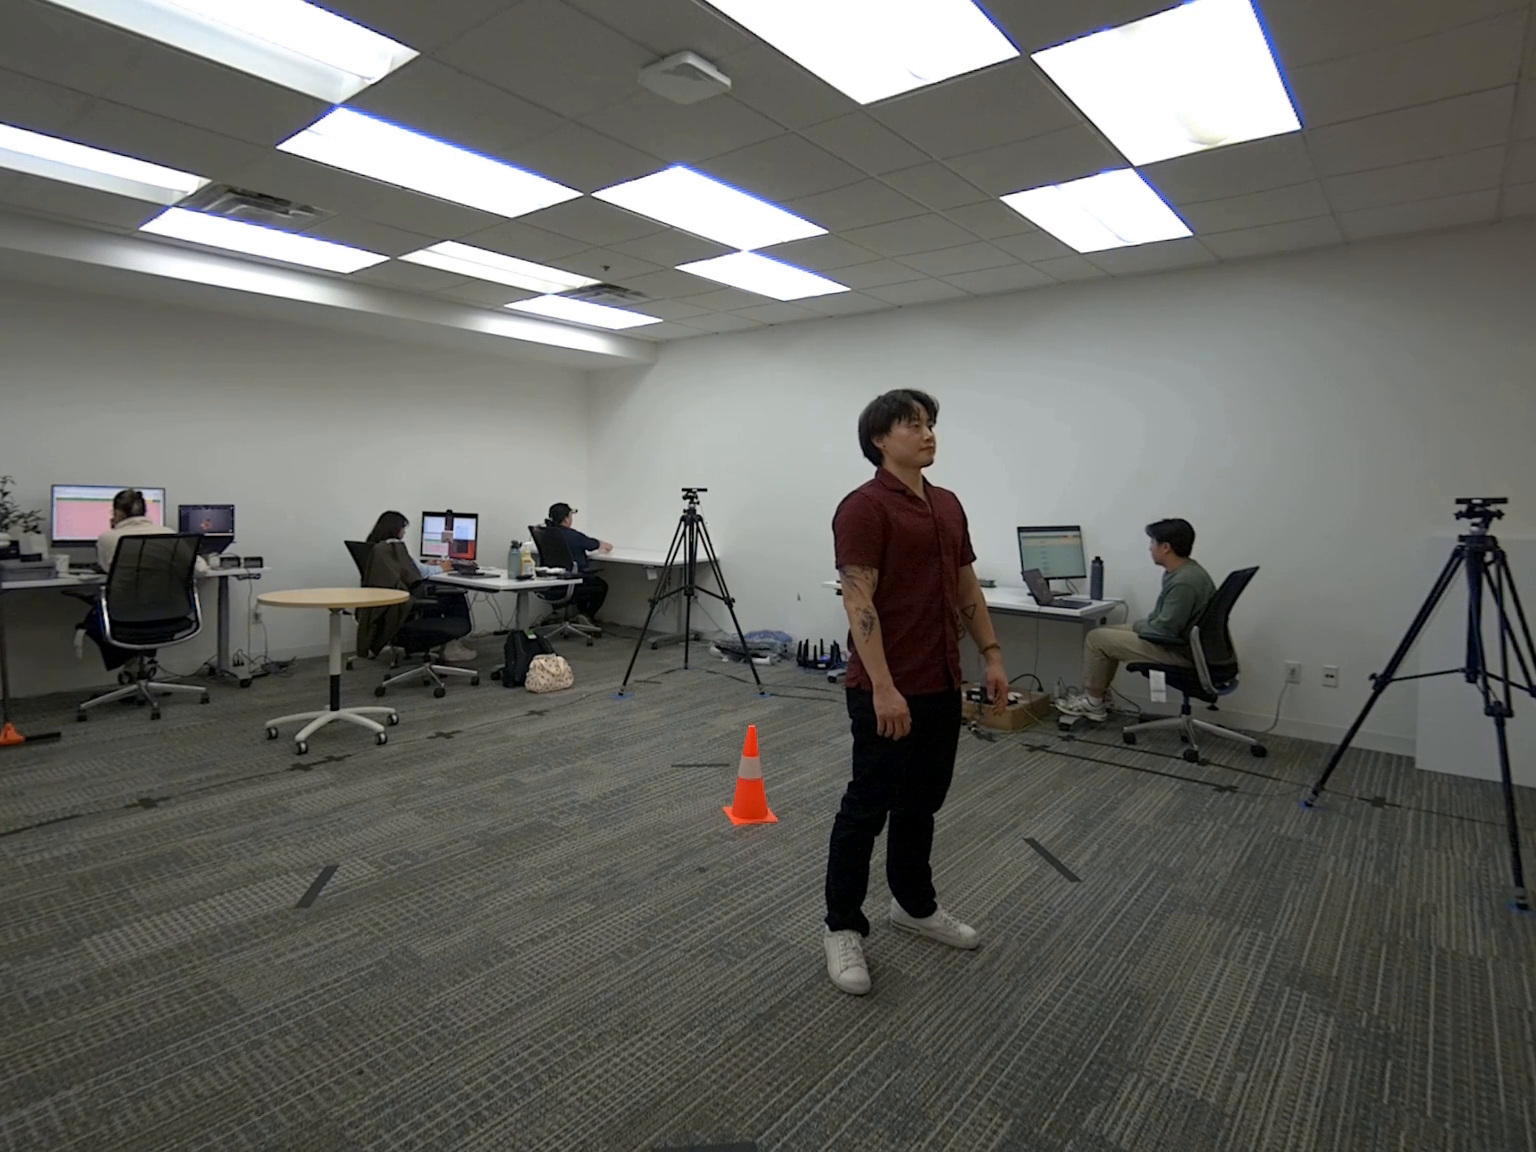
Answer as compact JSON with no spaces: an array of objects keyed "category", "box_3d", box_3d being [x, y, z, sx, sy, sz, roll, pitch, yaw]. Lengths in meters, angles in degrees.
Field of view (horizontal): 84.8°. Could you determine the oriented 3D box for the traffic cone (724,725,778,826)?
[{"category":"traffic cone","box_3d":[-0.089,0.833,3.643,0.200,0.382,0.209,-1,5,-17]}]
